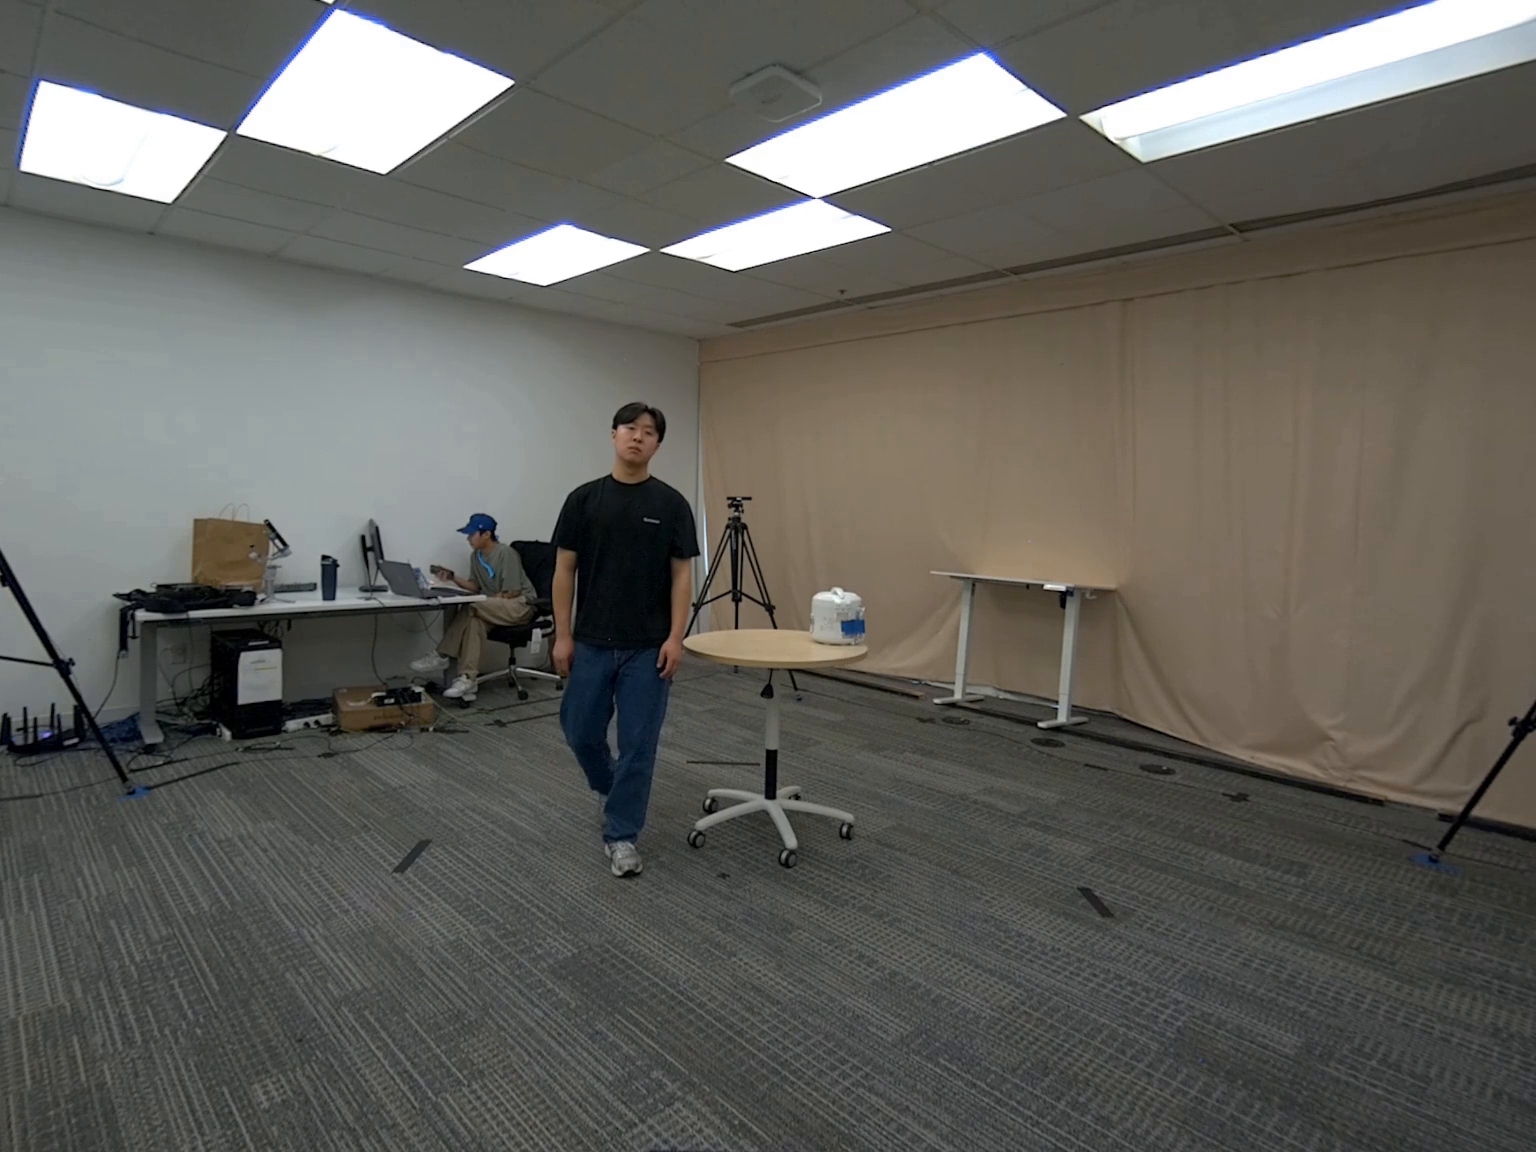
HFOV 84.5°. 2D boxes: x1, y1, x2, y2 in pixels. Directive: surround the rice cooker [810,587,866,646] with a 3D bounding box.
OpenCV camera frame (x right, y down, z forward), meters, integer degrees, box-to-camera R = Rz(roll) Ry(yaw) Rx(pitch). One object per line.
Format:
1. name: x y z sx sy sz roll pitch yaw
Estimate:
1. rice cooker: 0.287 0.166 3.574 0.216 0.232 0.222 2 3 -7
